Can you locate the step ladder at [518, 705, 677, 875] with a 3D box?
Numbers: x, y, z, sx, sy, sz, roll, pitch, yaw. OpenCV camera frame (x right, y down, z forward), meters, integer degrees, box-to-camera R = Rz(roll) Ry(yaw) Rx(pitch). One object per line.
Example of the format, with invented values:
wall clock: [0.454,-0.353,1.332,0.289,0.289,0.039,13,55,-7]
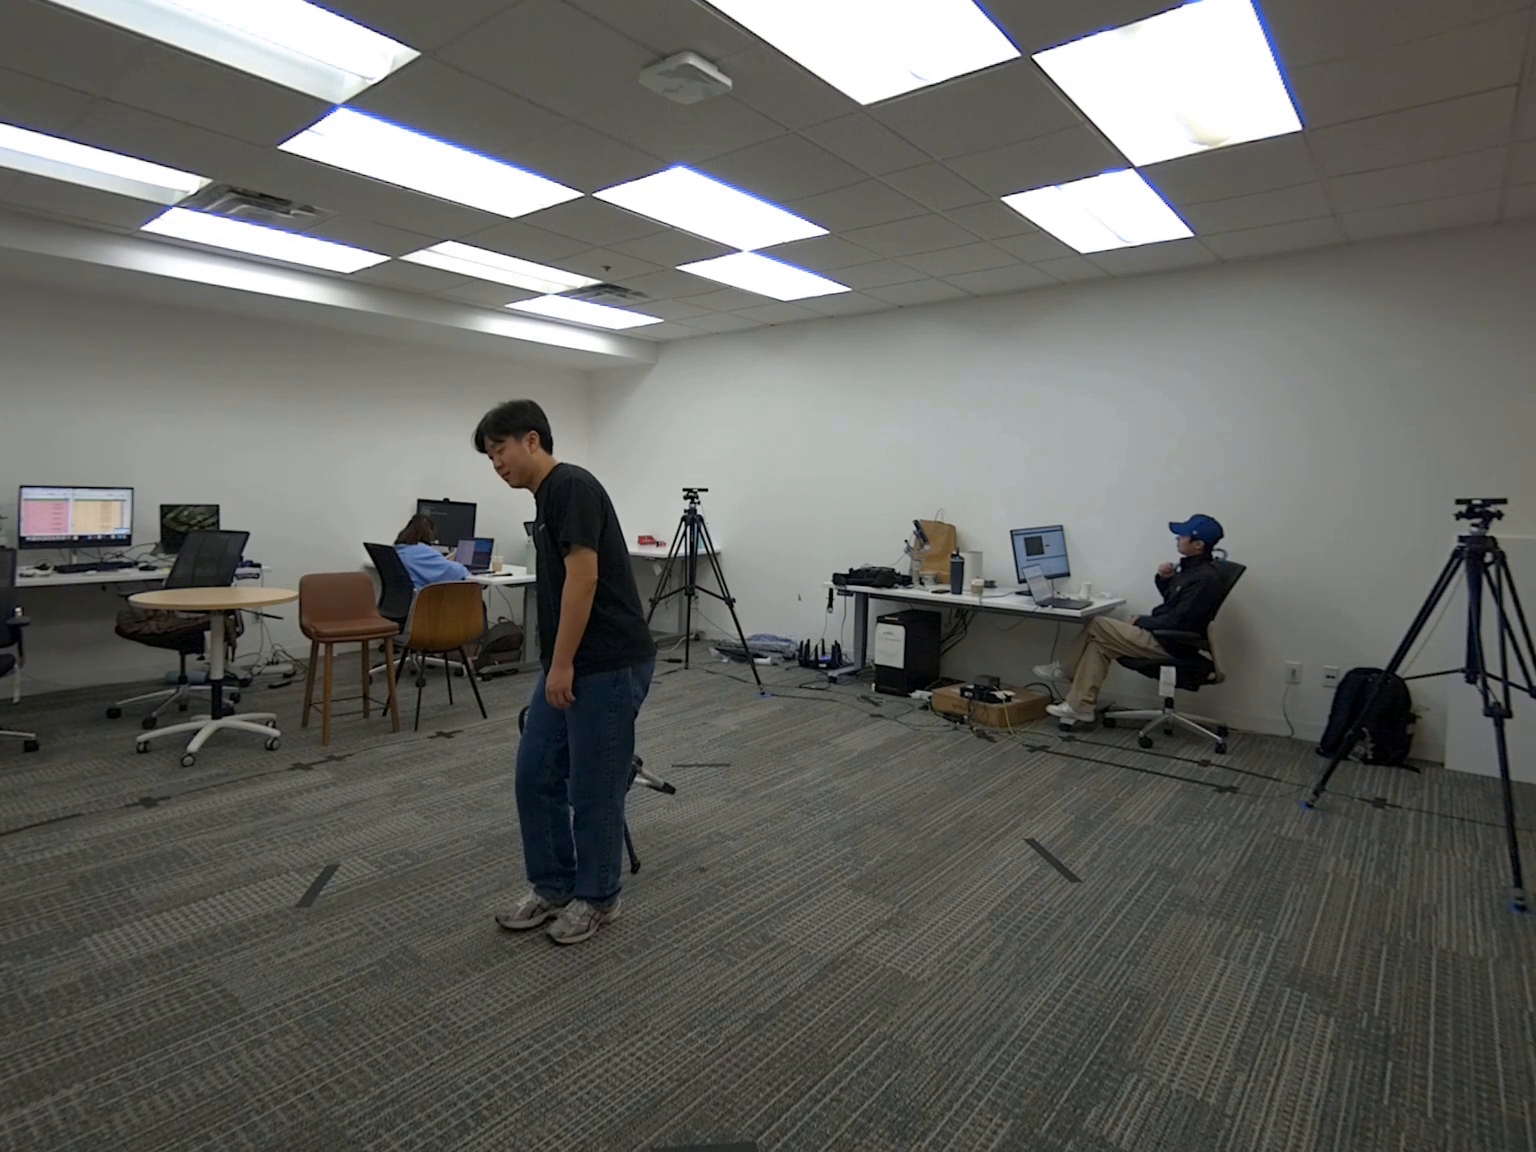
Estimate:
step ladder: [-0.693,0.716,3.093,0.444,0.583,0.352,4,46,31]
